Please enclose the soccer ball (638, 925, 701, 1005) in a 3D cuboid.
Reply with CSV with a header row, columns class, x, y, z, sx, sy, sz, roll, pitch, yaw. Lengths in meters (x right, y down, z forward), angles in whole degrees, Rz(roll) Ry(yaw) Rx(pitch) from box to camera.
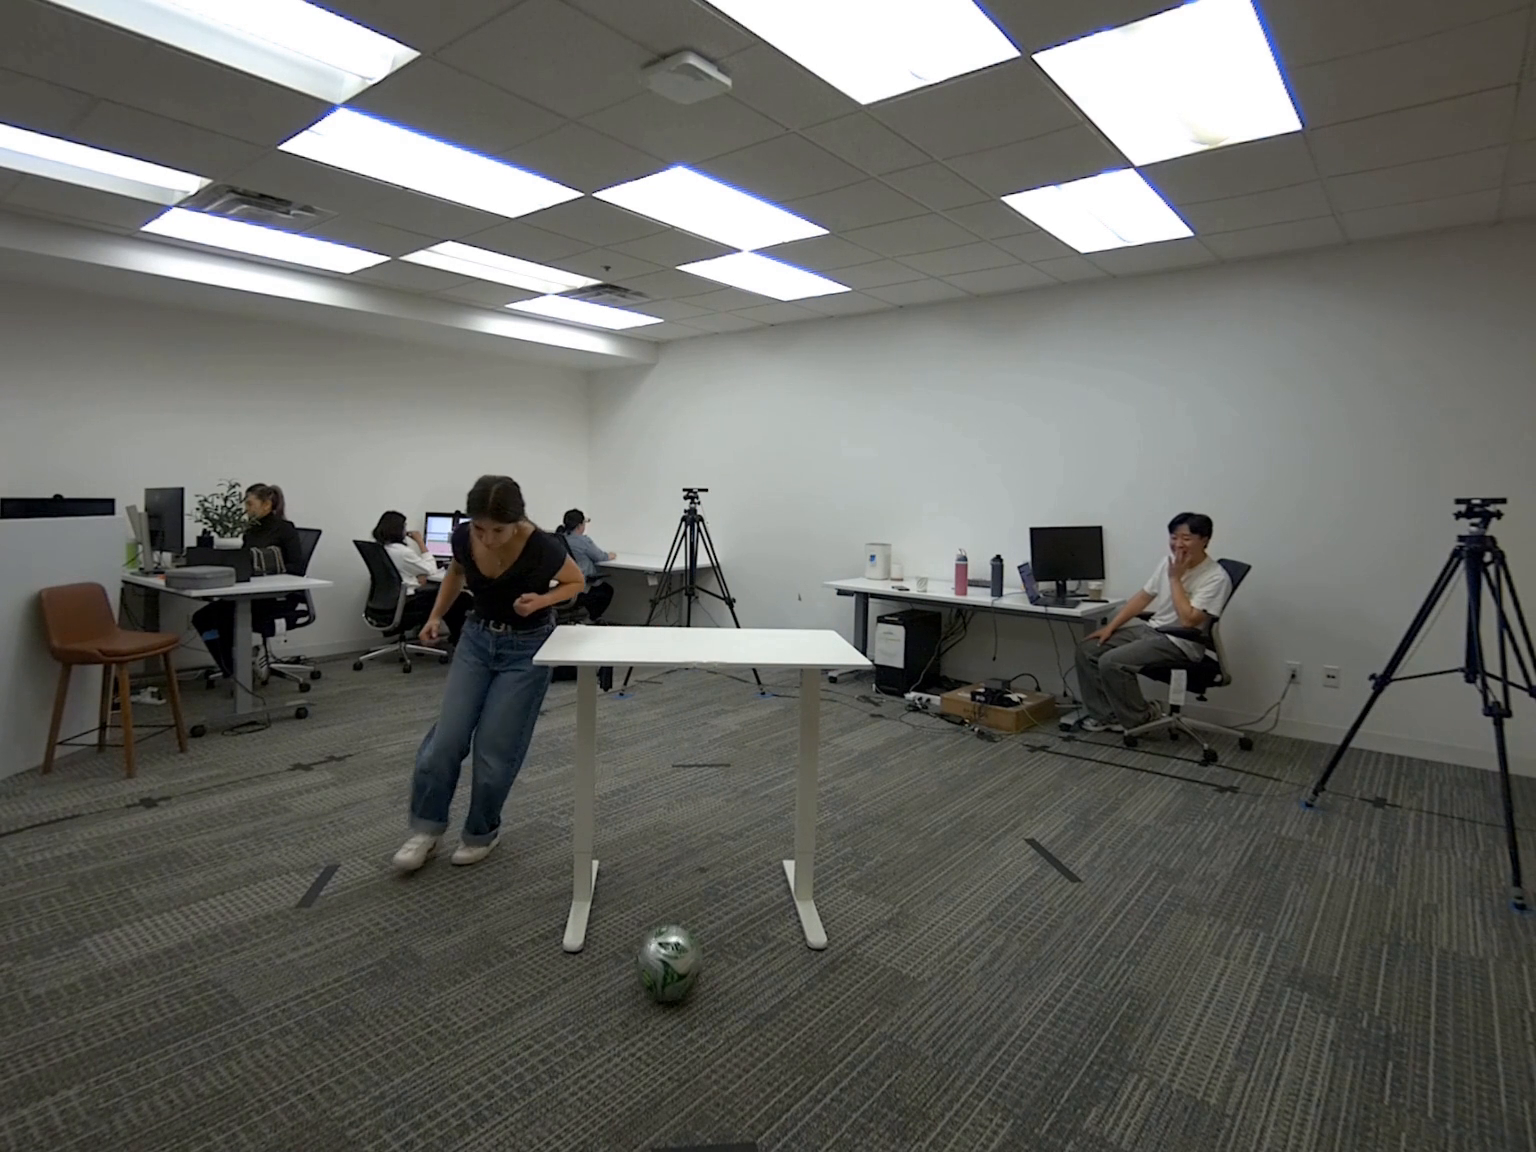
class,x,y,z,sx,sy,sz,roll,pitch,yaw
soccer ball,-0.266,1.053,2.325,0.187,0.187,0.188,1,4,-2
